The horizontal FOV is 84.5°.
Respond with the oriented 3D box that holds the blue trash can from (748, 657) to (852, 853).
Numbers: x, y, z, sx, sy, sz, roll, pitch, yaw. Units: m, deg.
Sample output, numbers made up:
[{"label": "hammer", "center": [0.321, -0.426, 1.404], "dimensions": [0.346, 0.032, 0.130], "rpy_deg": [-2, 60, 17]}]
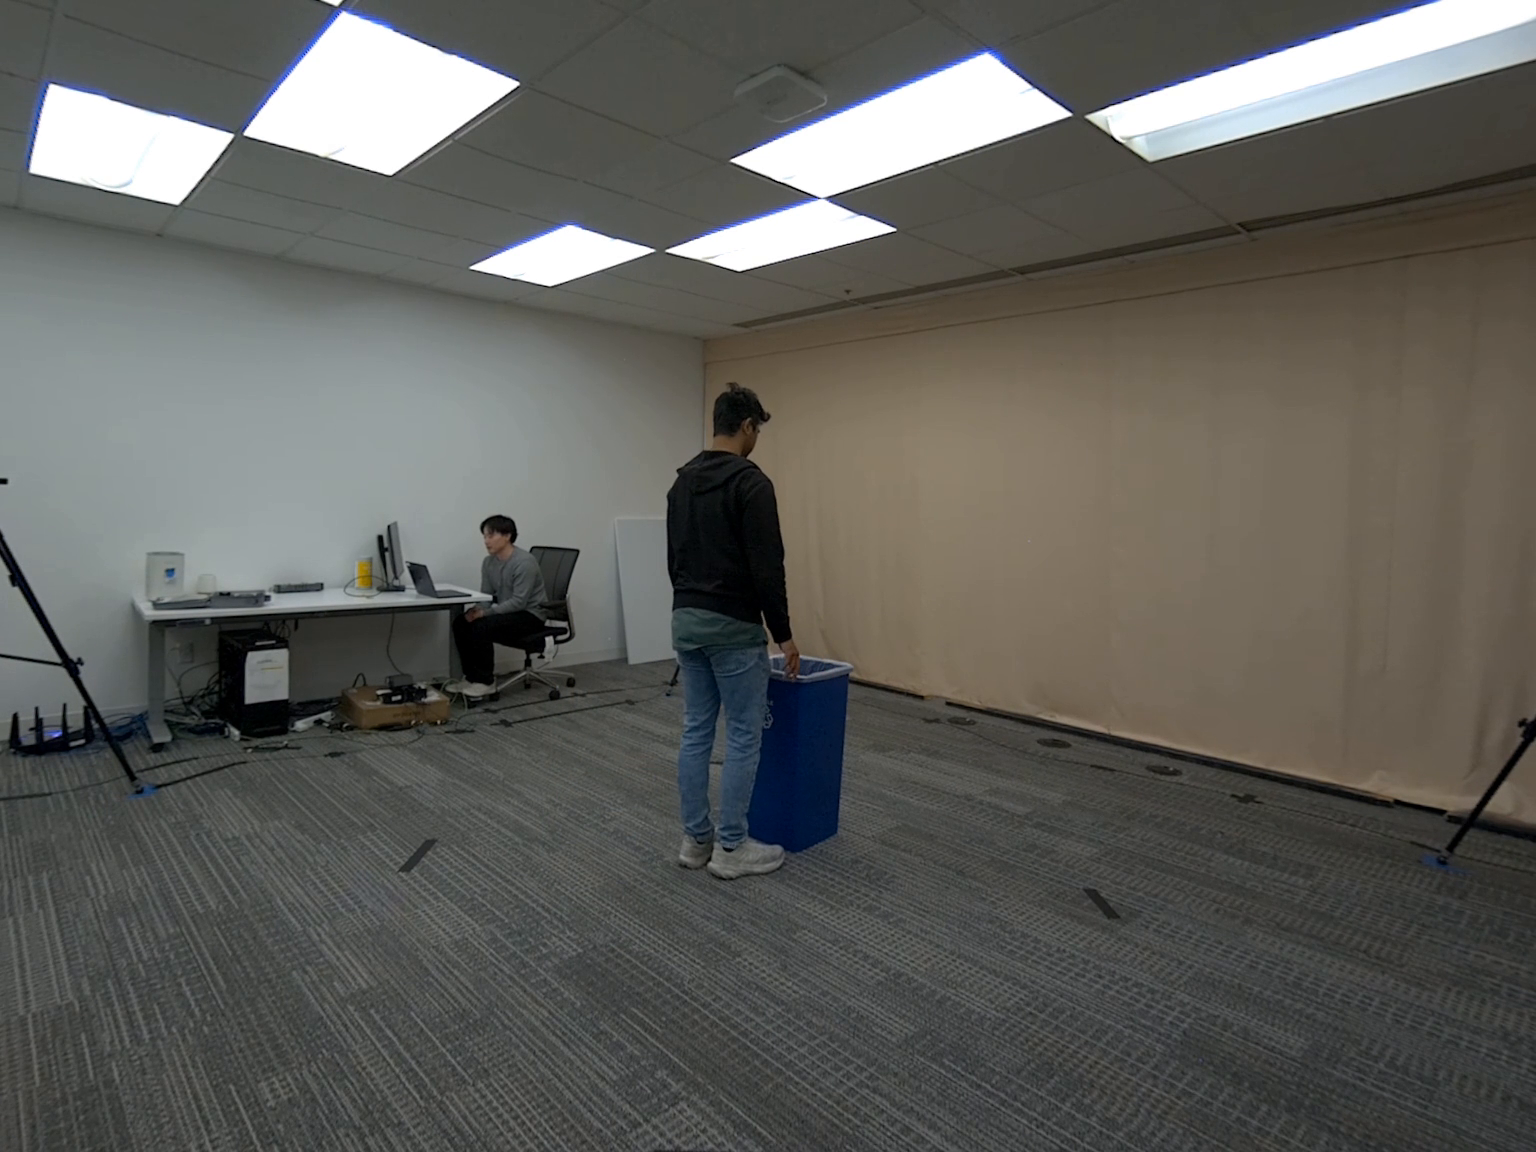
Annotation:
[{"label": "blue trash can", "center": [0.101, 0.720, 3.506], "dimensions": [0.383, 0.712, 0.369], "rpy_deg": [4, 4, 39]}]
